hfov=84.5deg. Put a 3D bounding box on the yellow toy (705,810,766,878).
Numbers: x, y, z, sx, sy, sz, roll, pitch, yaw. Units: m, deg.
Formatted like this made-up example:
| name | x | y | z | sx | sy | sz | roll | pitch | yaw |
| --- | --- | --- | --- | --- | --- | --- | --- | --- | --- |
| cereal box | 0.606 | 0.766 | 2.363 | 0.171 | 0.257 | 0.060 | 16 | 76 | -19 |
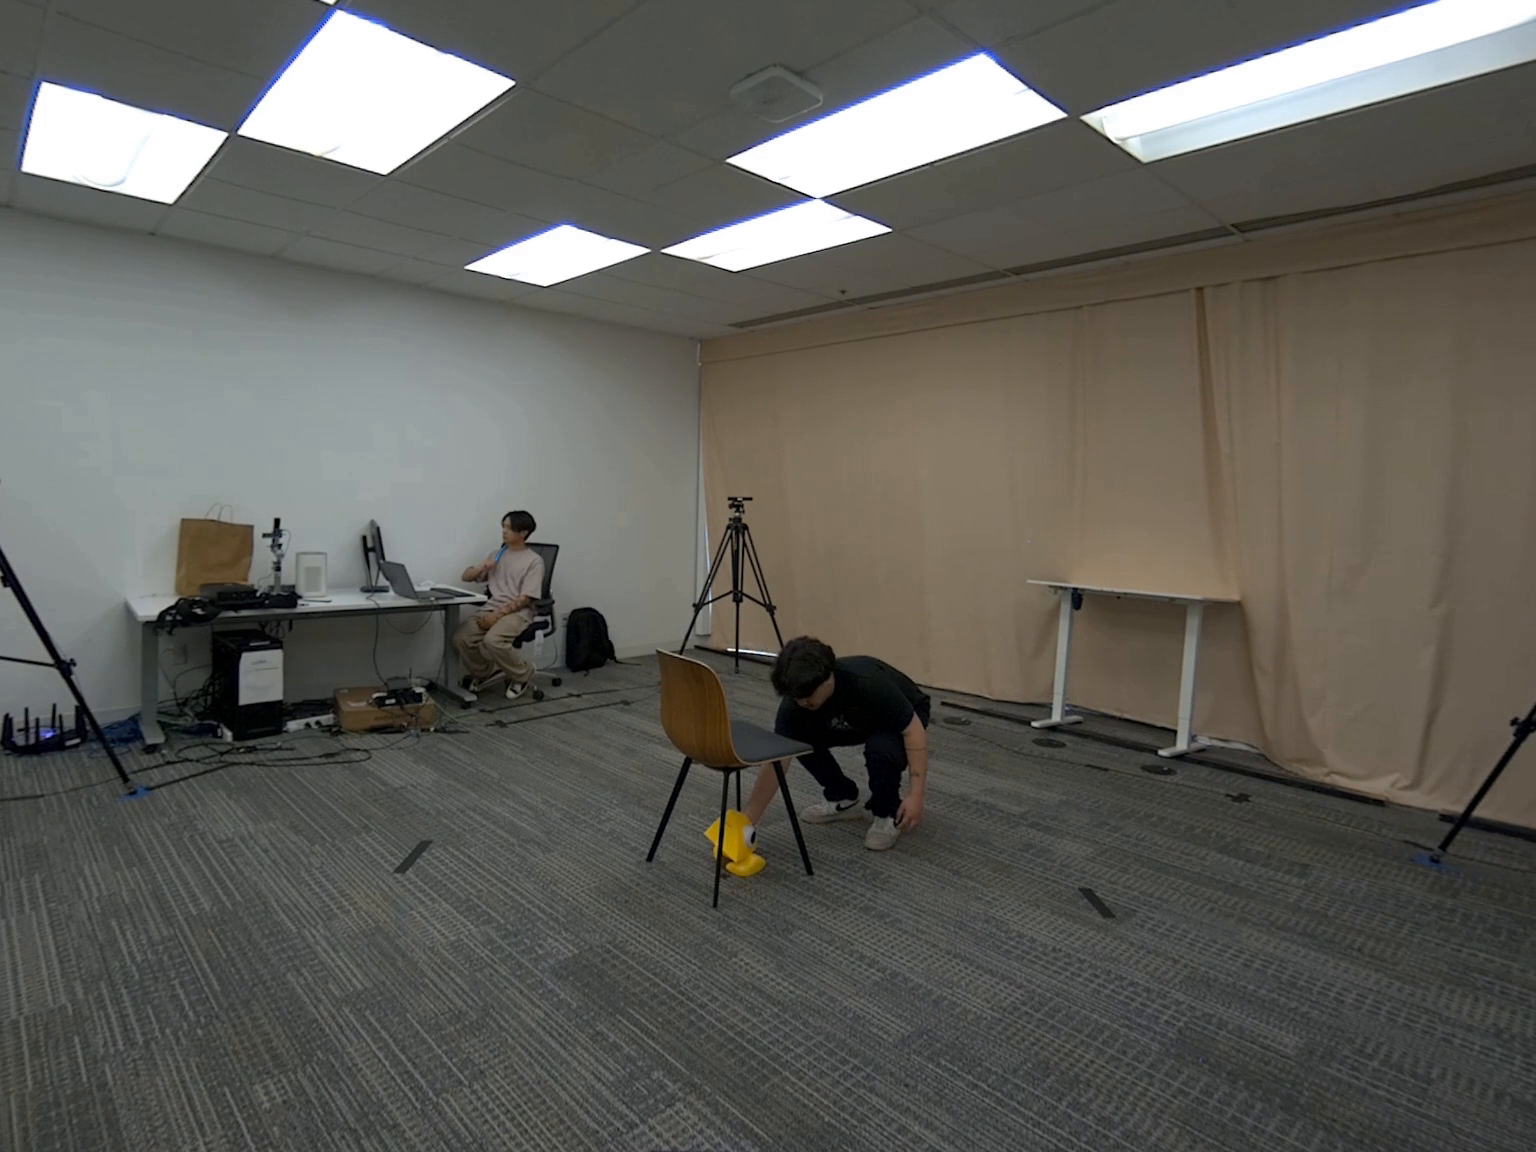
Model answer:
| name | x | y | z | sx | sy | sz | roll | pitch | yaw |
| --- | --- | --- | --- | --- | --- | --- | --- | --- | --- |
| yellow toy | -0.112 | 0.978 | 3.180 | 0.189 | 0.228 | 0.211 | -5 | 18 | -38 |
